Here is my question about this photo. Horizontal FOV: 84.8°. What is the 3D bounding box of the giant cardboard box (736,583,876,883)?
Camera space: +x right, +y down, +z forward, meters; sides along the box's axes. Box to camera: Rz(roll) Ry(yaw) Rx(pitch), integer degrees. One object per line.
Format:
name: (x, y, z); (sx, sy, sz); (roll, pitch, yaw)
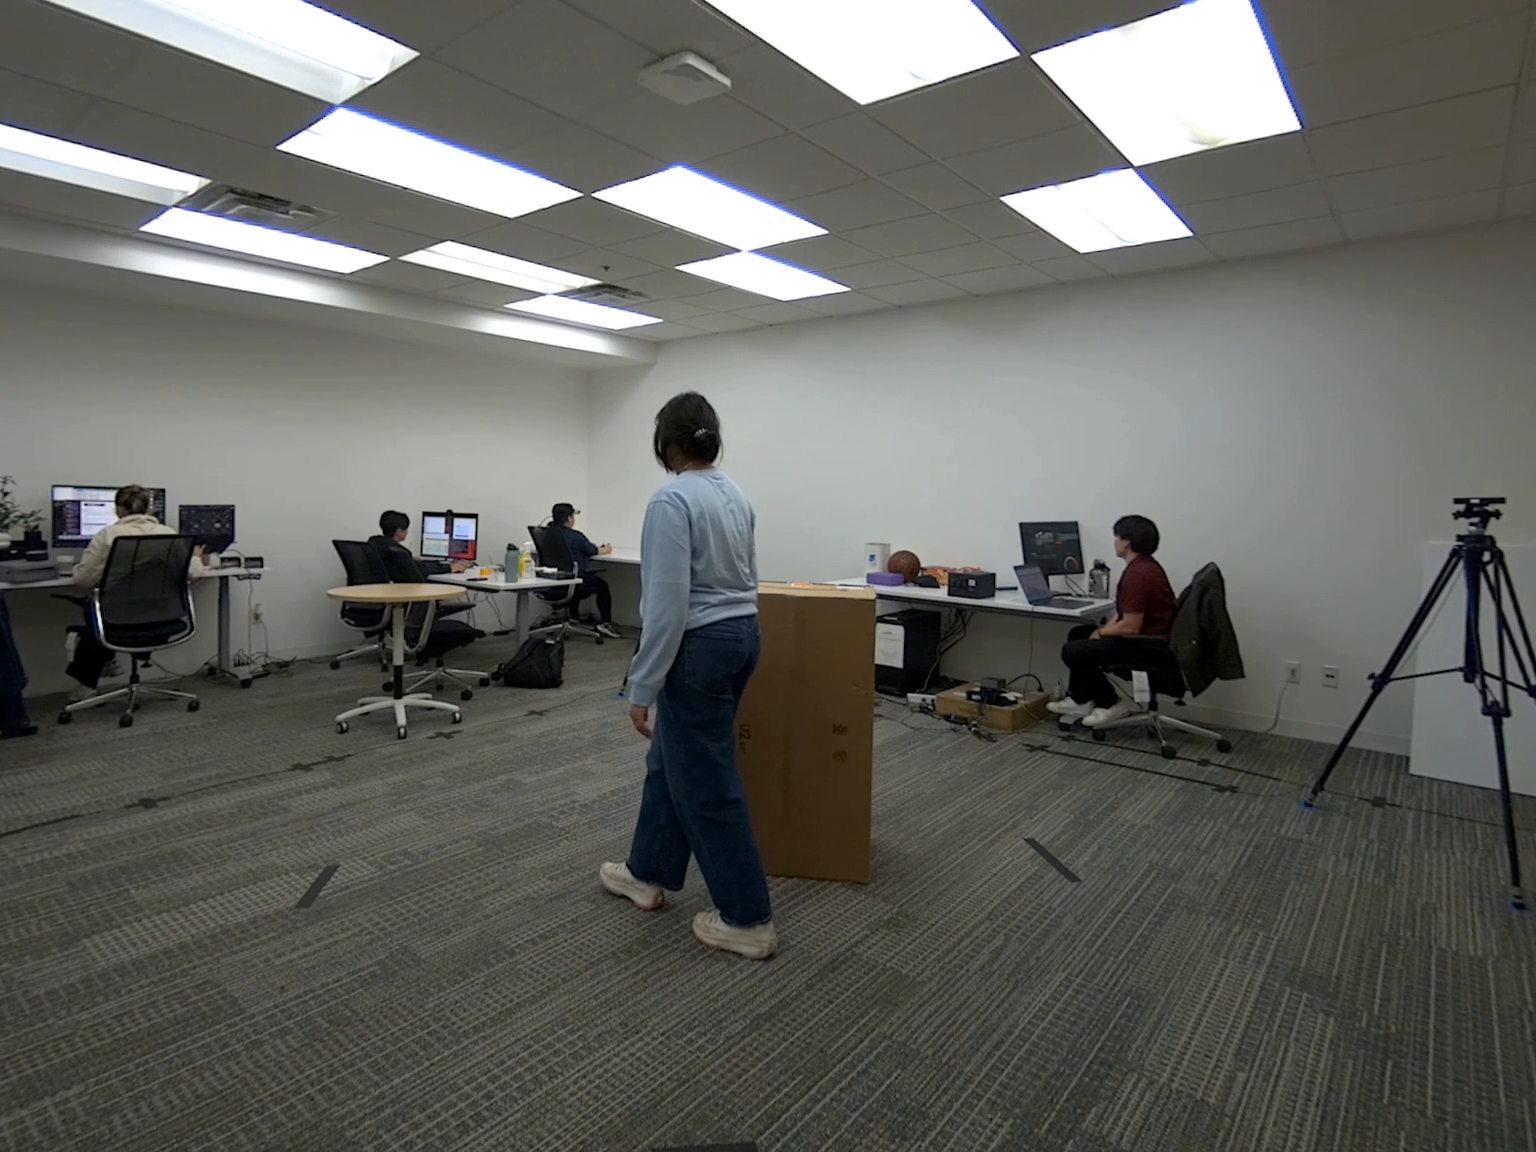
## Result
giant cardboard box: (0.102, 0.553, 3.243); (0.583, 1.023, 0.424); (1, 3, 7)
